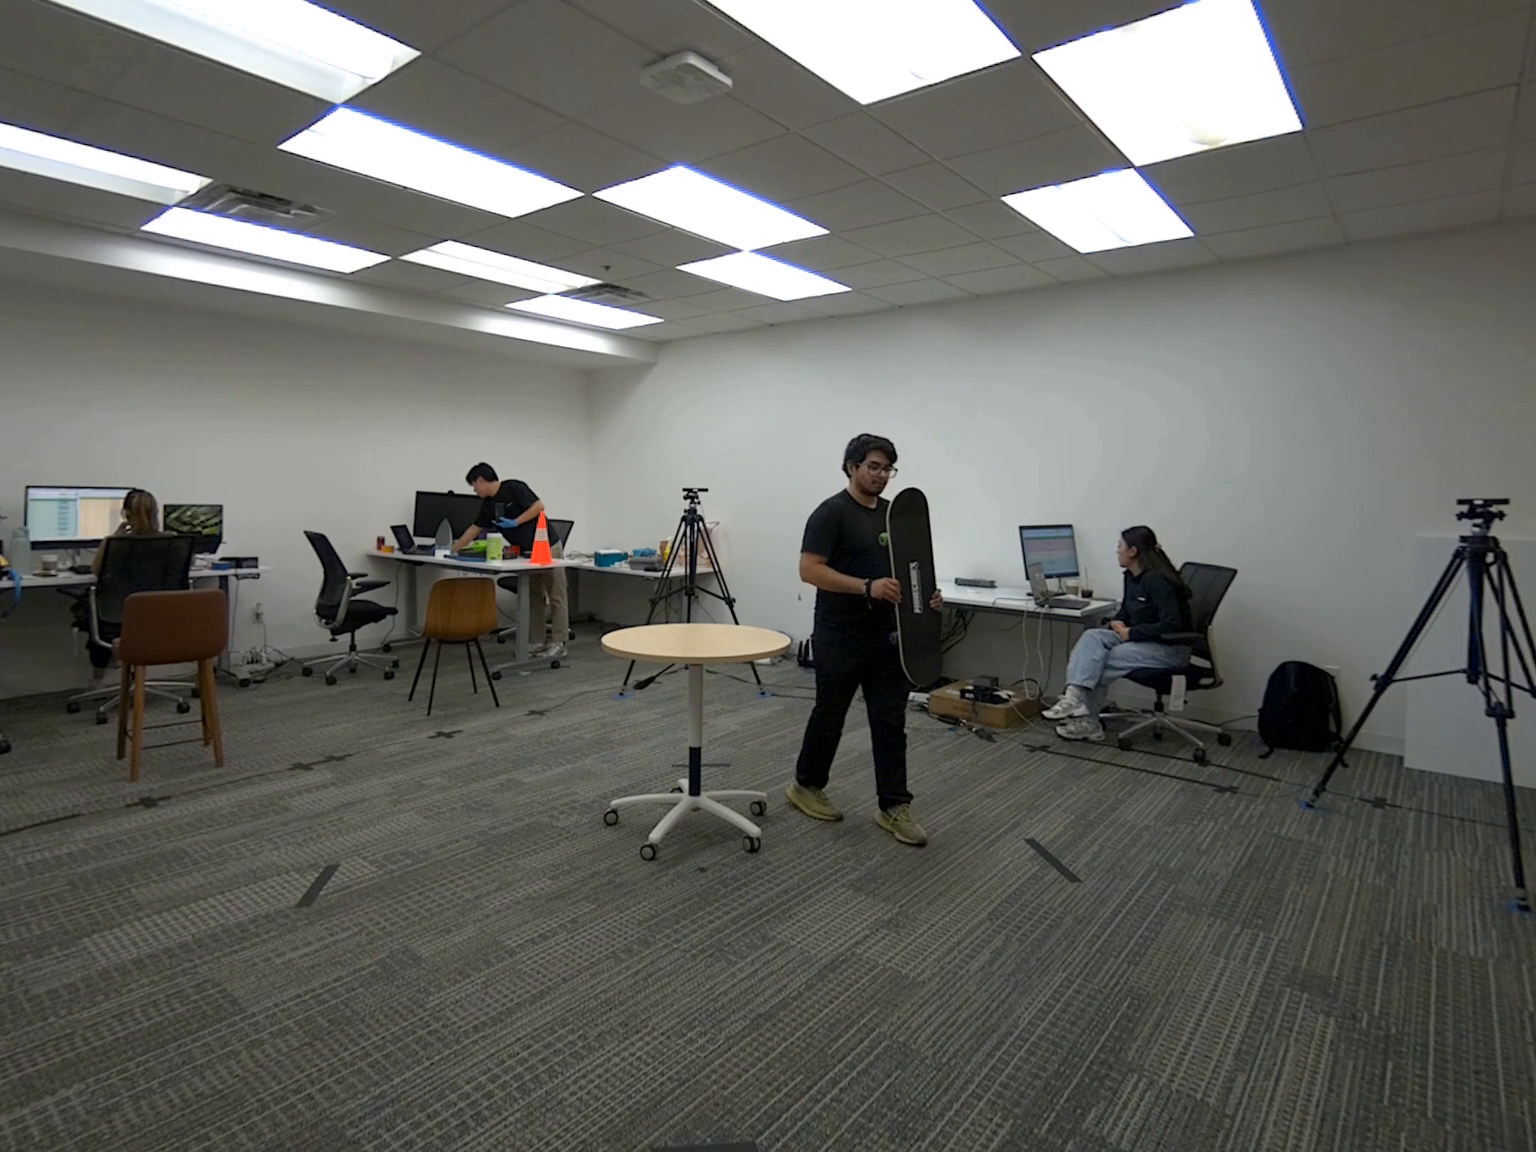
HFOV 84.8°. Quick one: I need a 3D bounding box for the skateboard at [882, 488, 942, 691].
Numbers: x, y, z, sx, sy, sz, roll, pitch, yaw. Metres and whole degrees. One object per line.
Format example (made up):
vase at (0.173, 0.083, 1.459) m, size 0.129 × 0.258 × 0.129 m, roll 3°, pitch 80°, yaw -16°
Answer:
skateboard at (0.561, 0.032, 3.351) m, size 0.189 × 0.778 × 0.113 m, roll -11°, pitch 9°, yaw -26°
